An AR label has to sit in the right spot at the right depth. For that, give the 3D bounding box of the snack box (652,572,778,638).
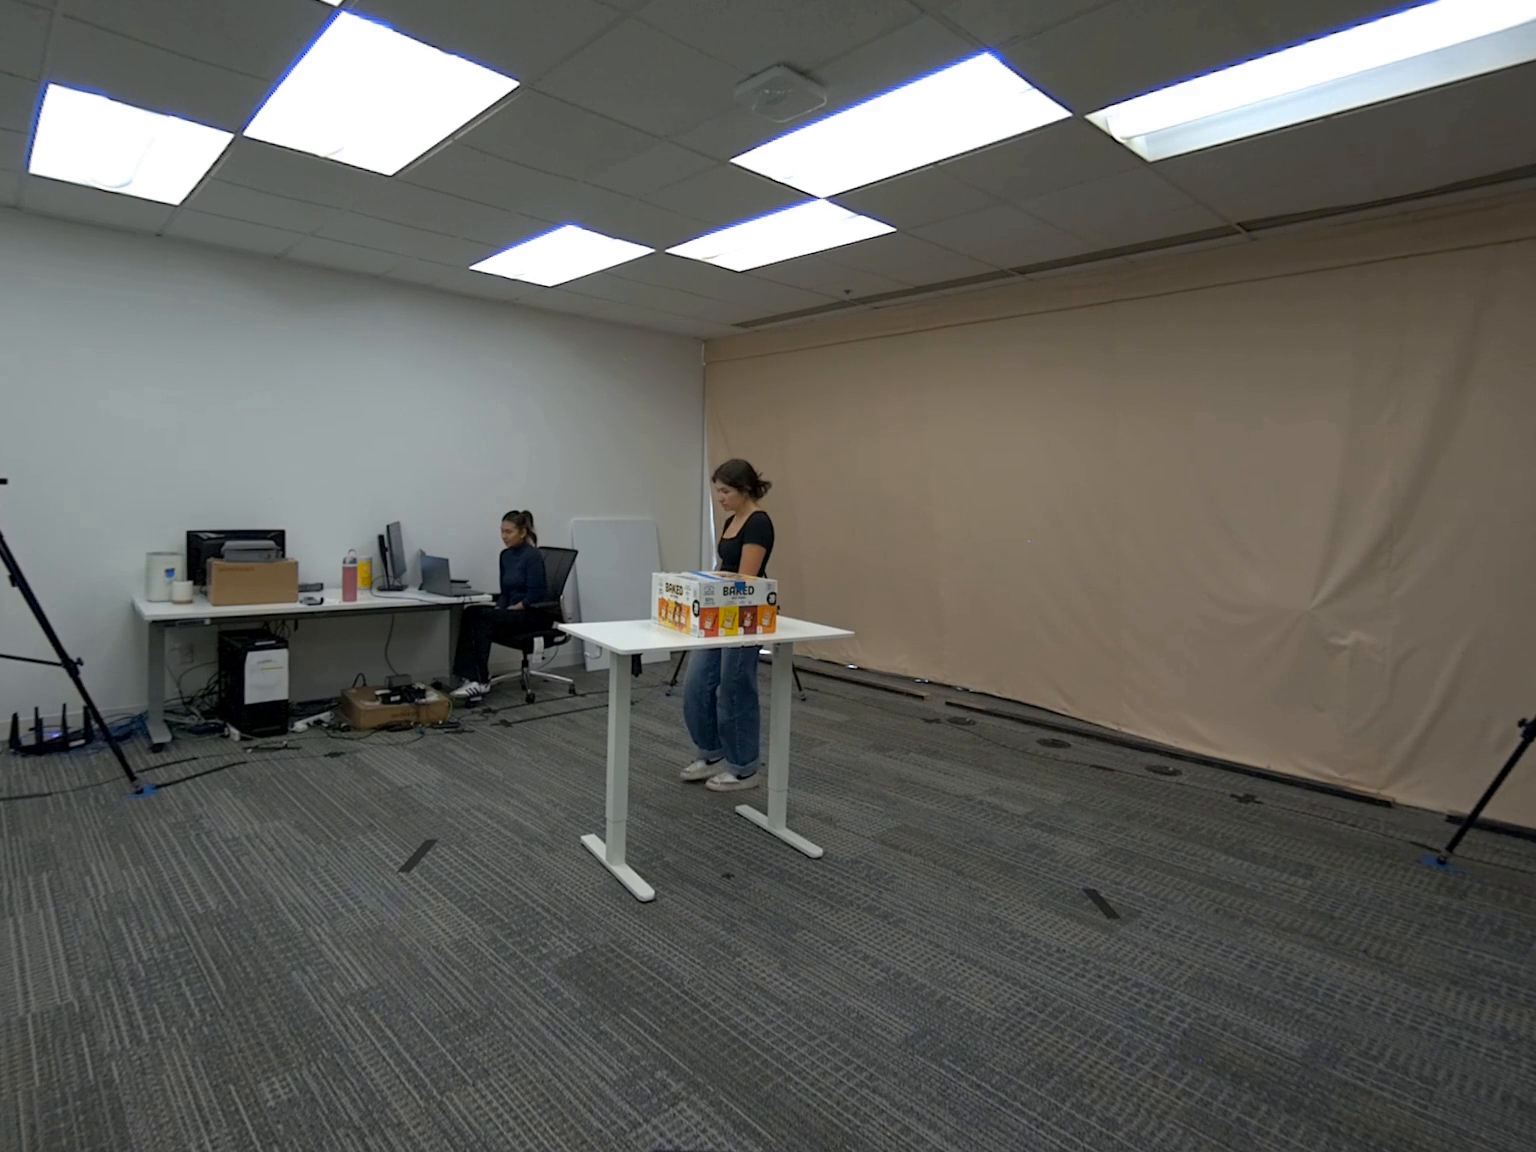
[{"bbox_3d":[-0.229,0.103,3.311,0.333,0.205,0.415,0,5,-32],"label":"snack box"}]
